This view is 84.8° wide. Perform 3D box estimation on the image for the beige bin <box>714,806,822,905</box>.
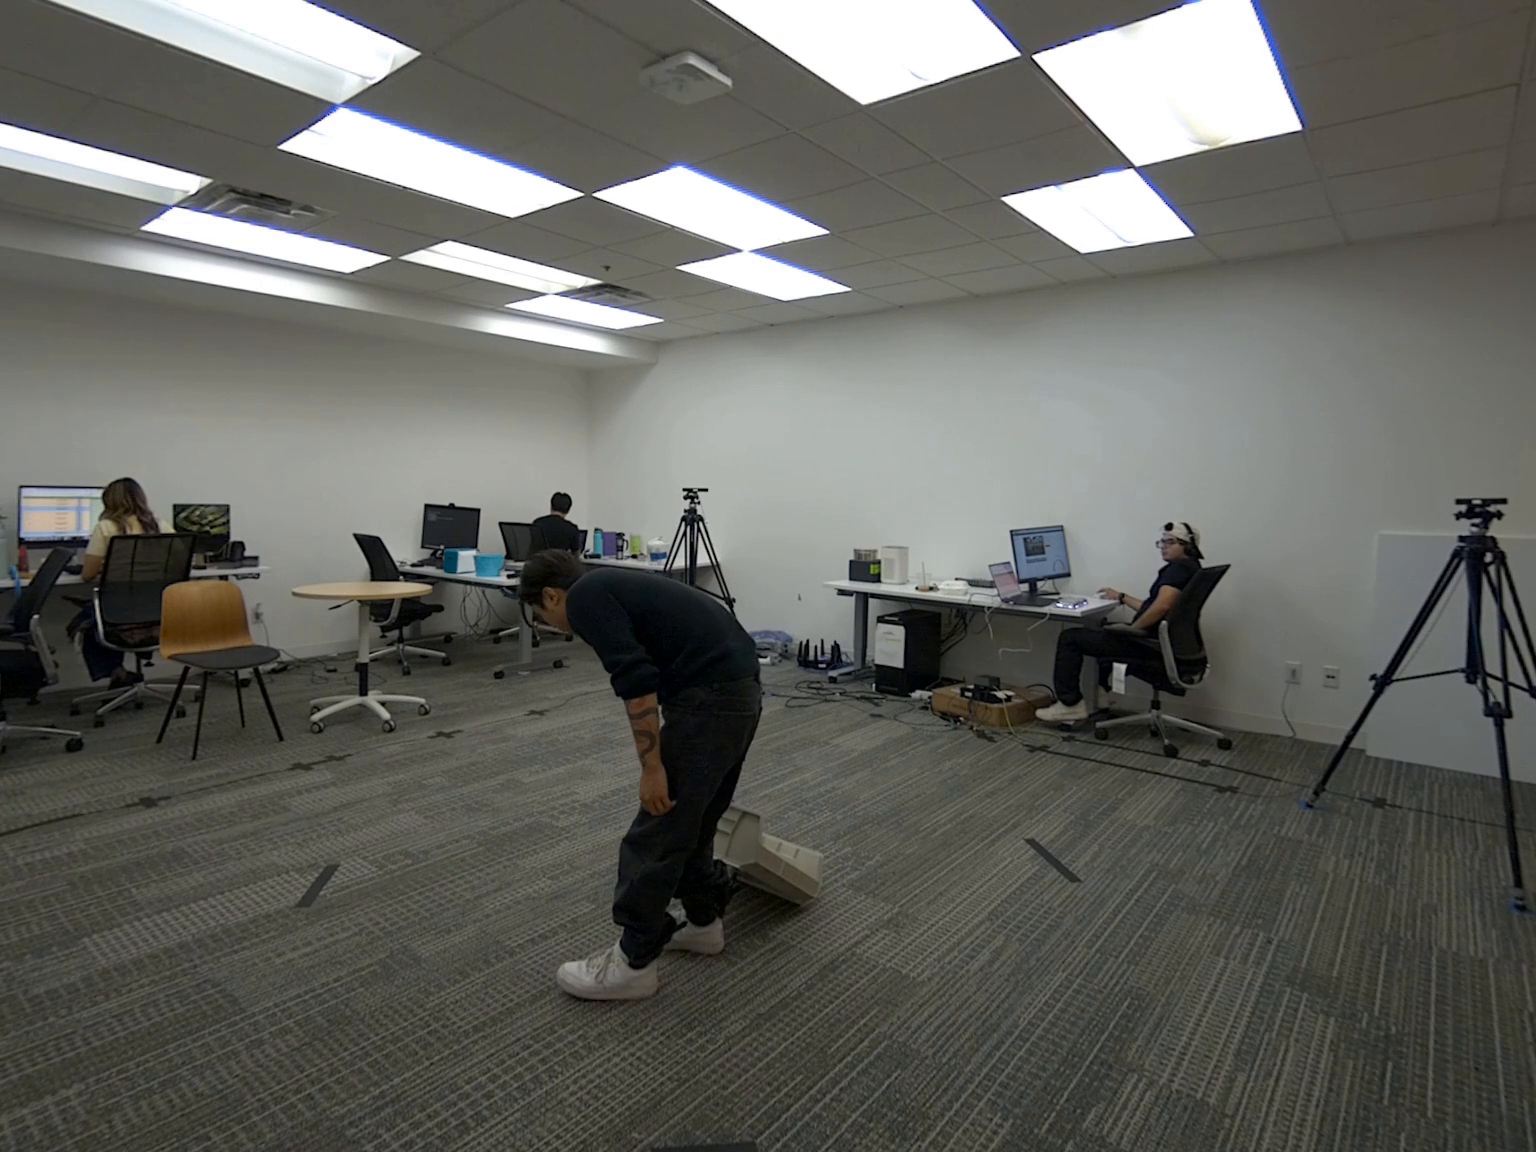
[{"bbox_3d":[-0.075,0.907,2.841,0.390,0.191,0.404,3,-29,39],"label":"beige bin"}]
